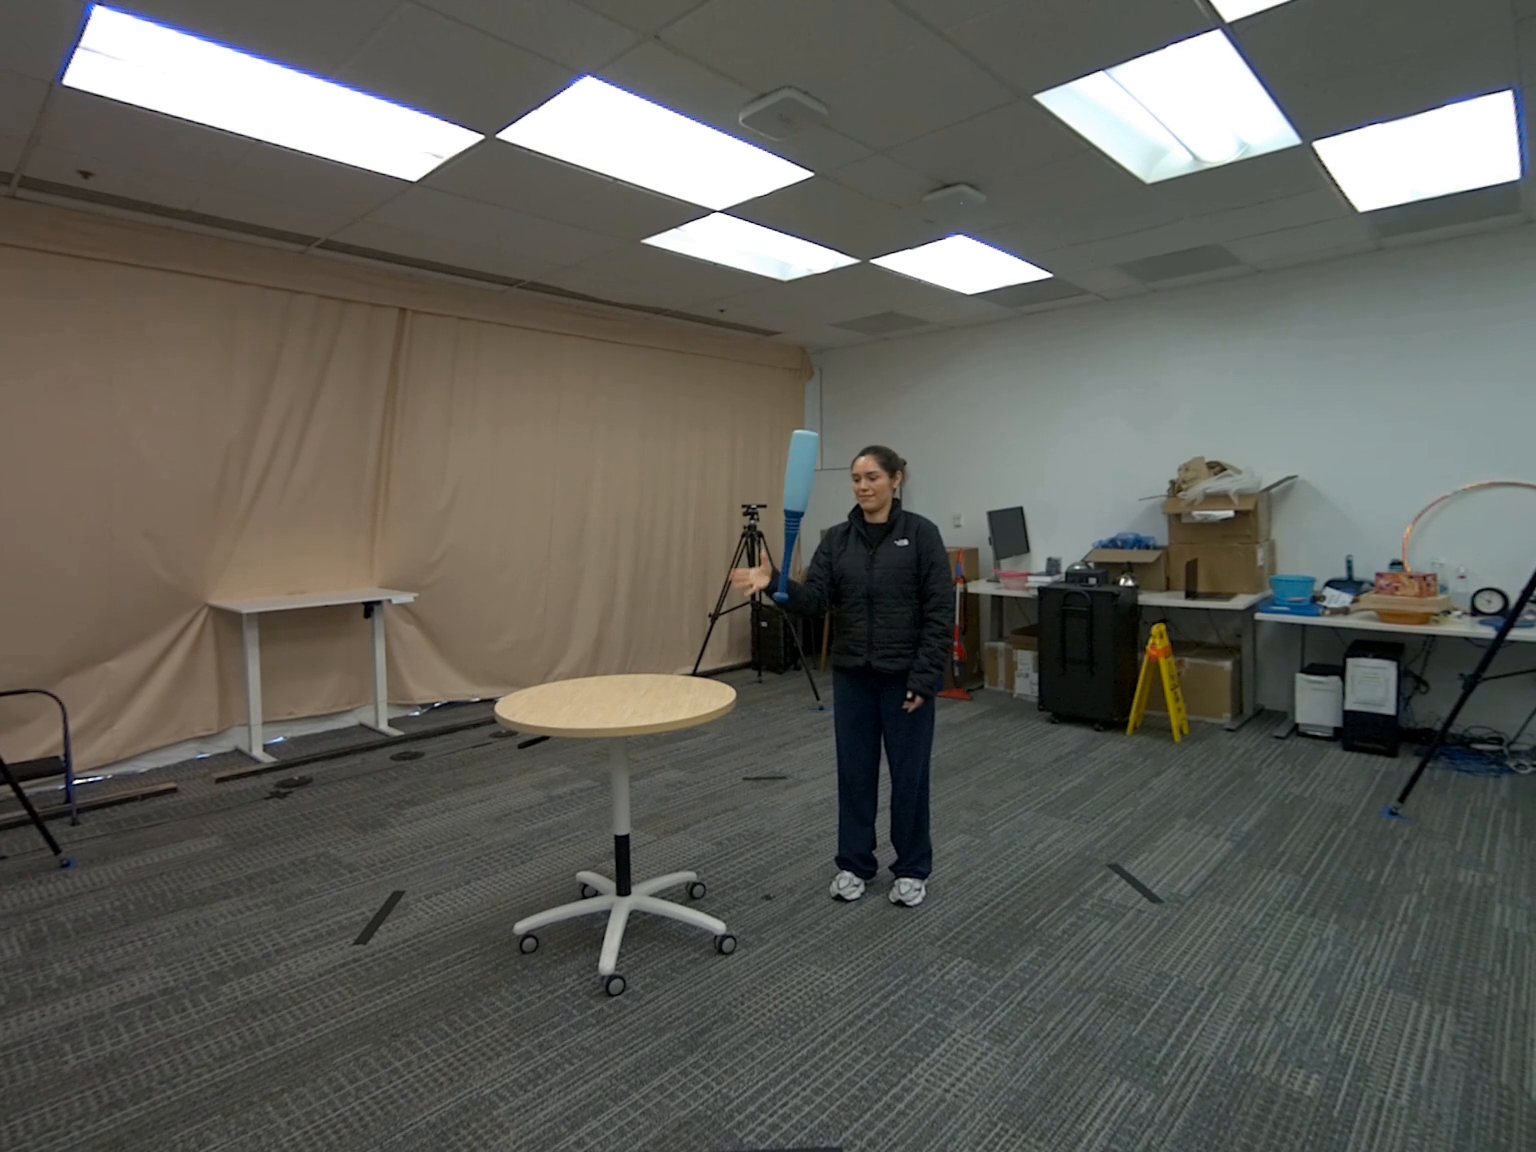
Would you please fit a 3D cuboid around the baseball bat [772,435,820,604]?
[{"bbox_3d":[0.097,-0.136,2.656,0.089,0.541,0.089,8,5,-3],"label":"baseball bat"}]
